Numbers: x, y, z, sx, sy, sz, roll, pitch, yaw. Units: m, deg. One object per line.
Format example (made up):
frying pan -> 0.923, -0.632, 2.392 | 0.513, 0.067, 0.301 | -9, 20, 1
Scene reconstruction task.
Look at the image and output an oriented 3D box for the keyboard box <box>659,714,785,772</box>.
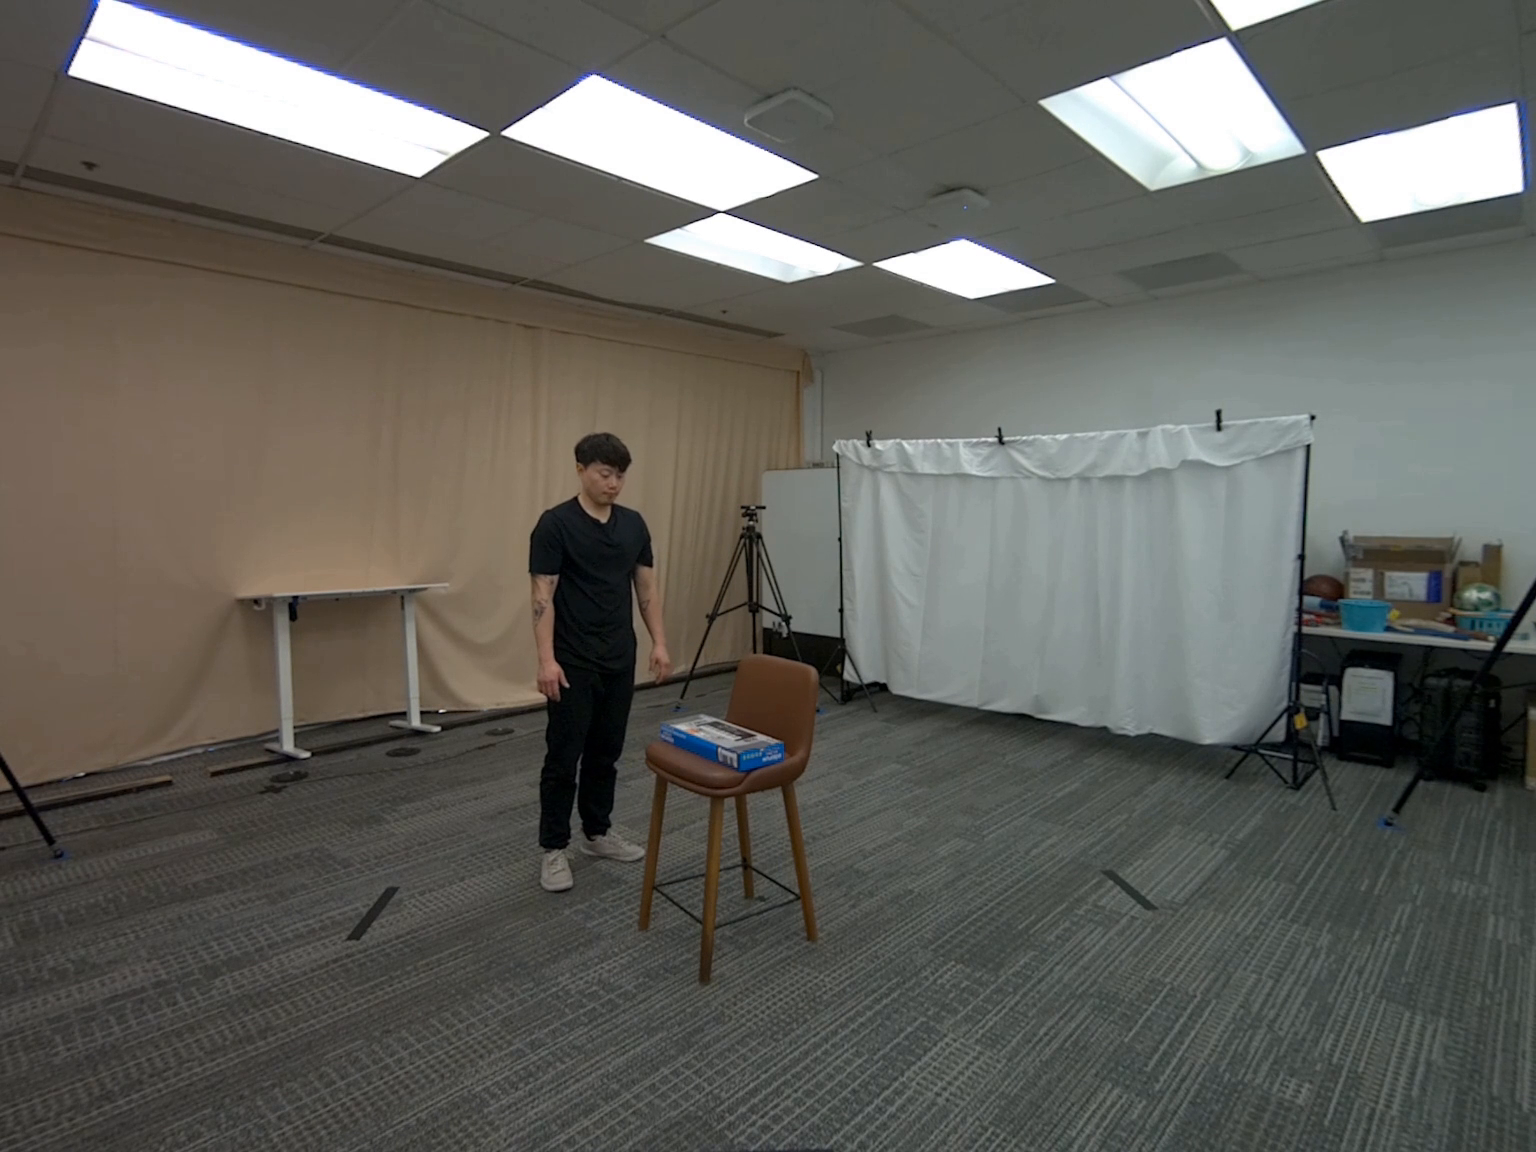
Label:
keyboard box -> -0.158, 0.528, 2.683 | 0.171, 0.059, 0.451 | -5, 7, -37
